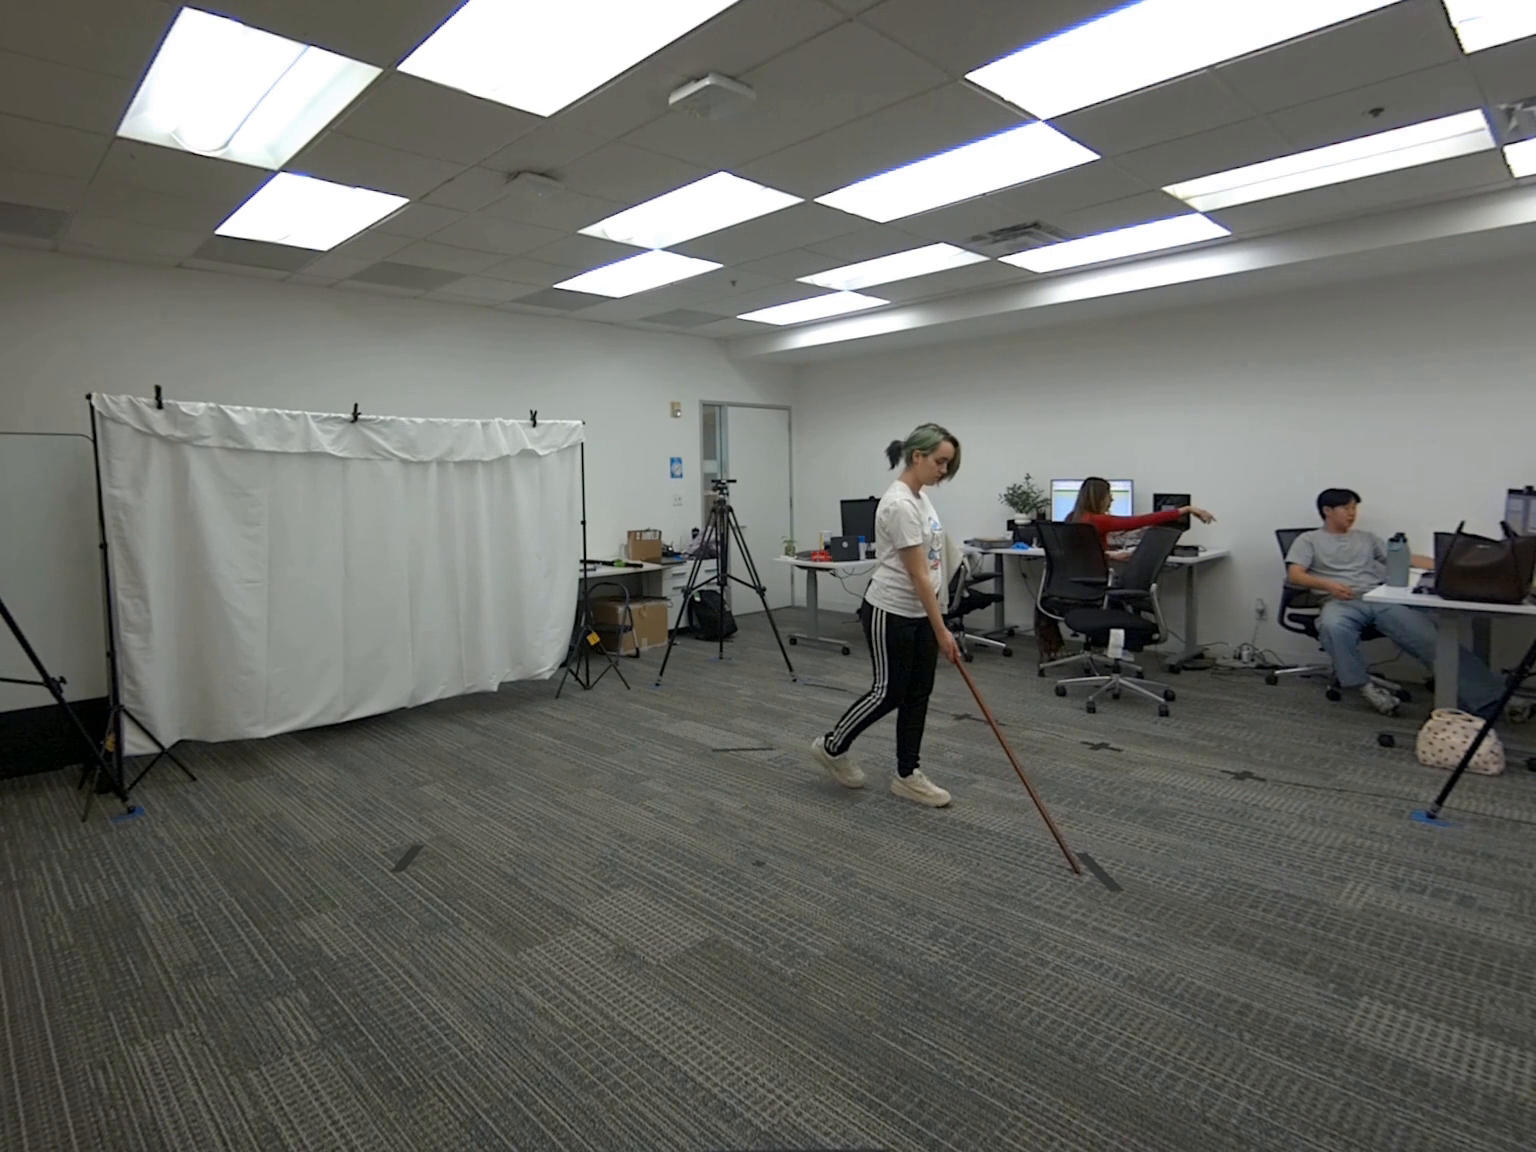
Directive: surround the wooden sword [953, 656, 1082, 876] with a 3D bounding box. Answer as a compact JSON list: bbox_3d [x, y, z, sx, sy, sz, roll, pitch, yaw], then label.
[{"bbox_3d":[0.907,0.643,3.268,0.024,1.059,0.049,-43,-35,25],"label":"wooden sword"}]
